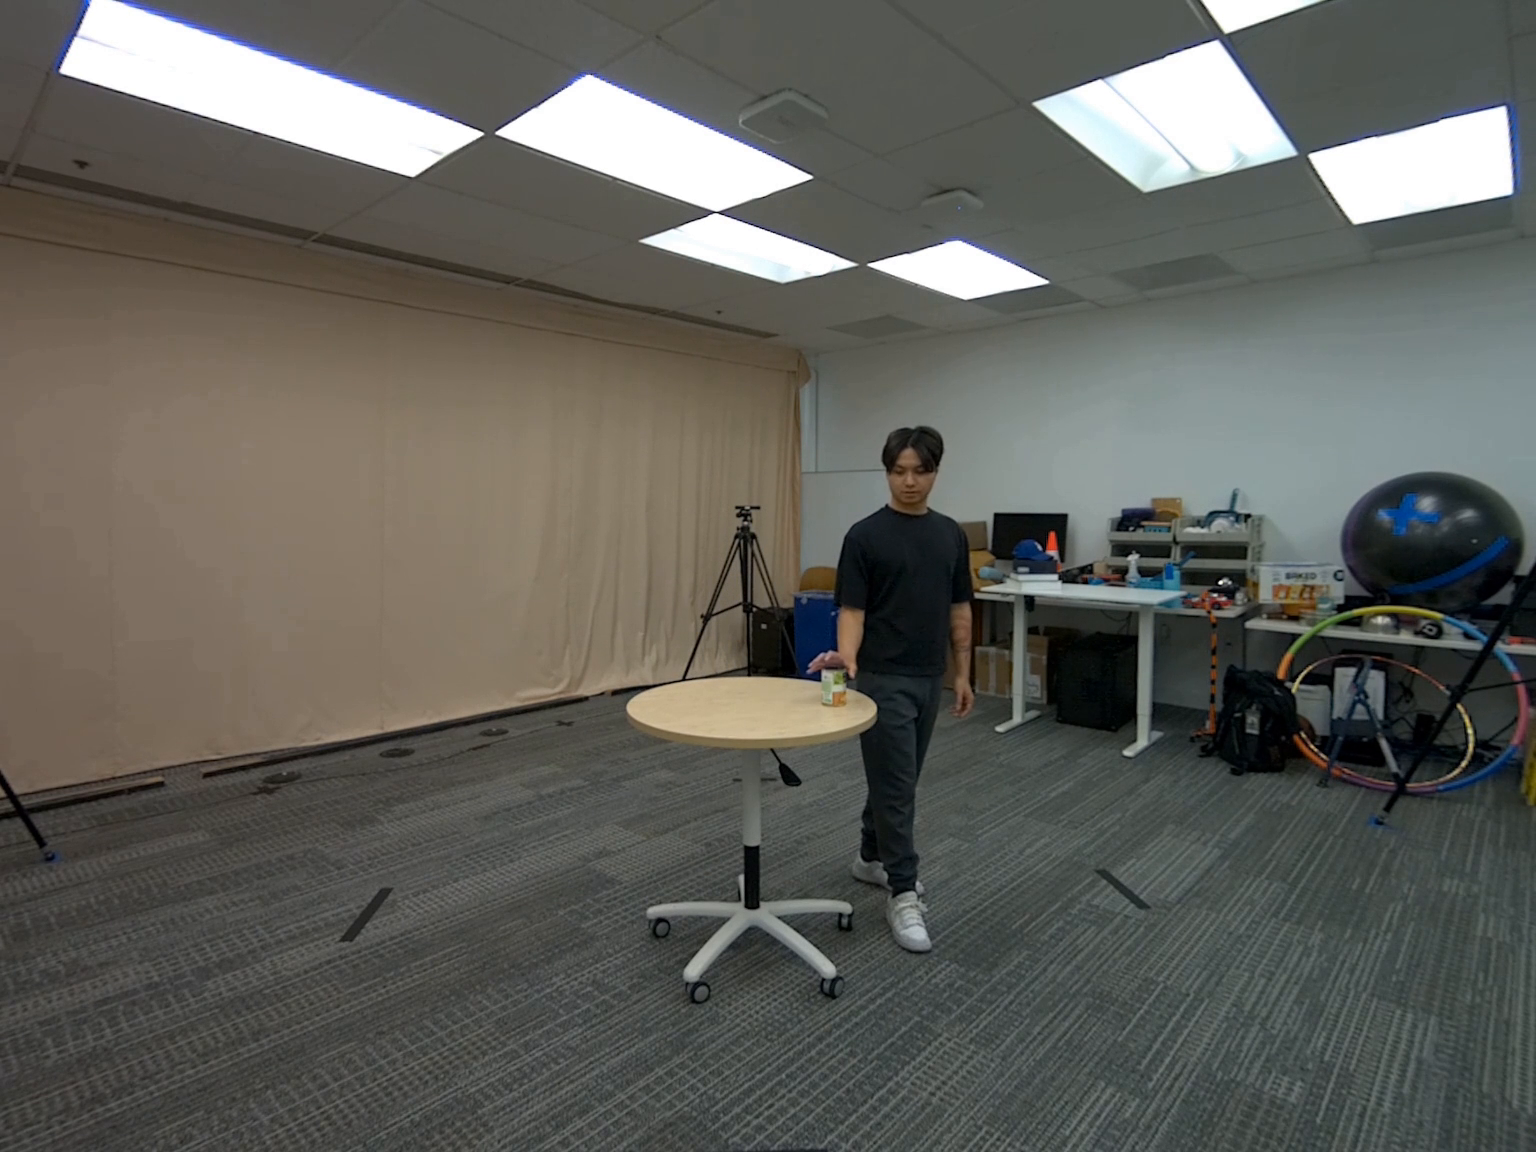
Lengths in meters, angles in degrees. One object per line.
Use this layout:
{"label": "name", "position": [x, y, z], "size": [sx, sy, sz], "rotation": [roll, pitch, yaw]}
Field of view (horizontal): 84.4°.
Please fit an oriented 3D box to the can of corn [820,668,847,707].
{"label": "can of corn", "position": [0.205, 0.340, 2.569], "size": [0.074, 0.111, 0.074], "rotation": [3, 5, -2]}
